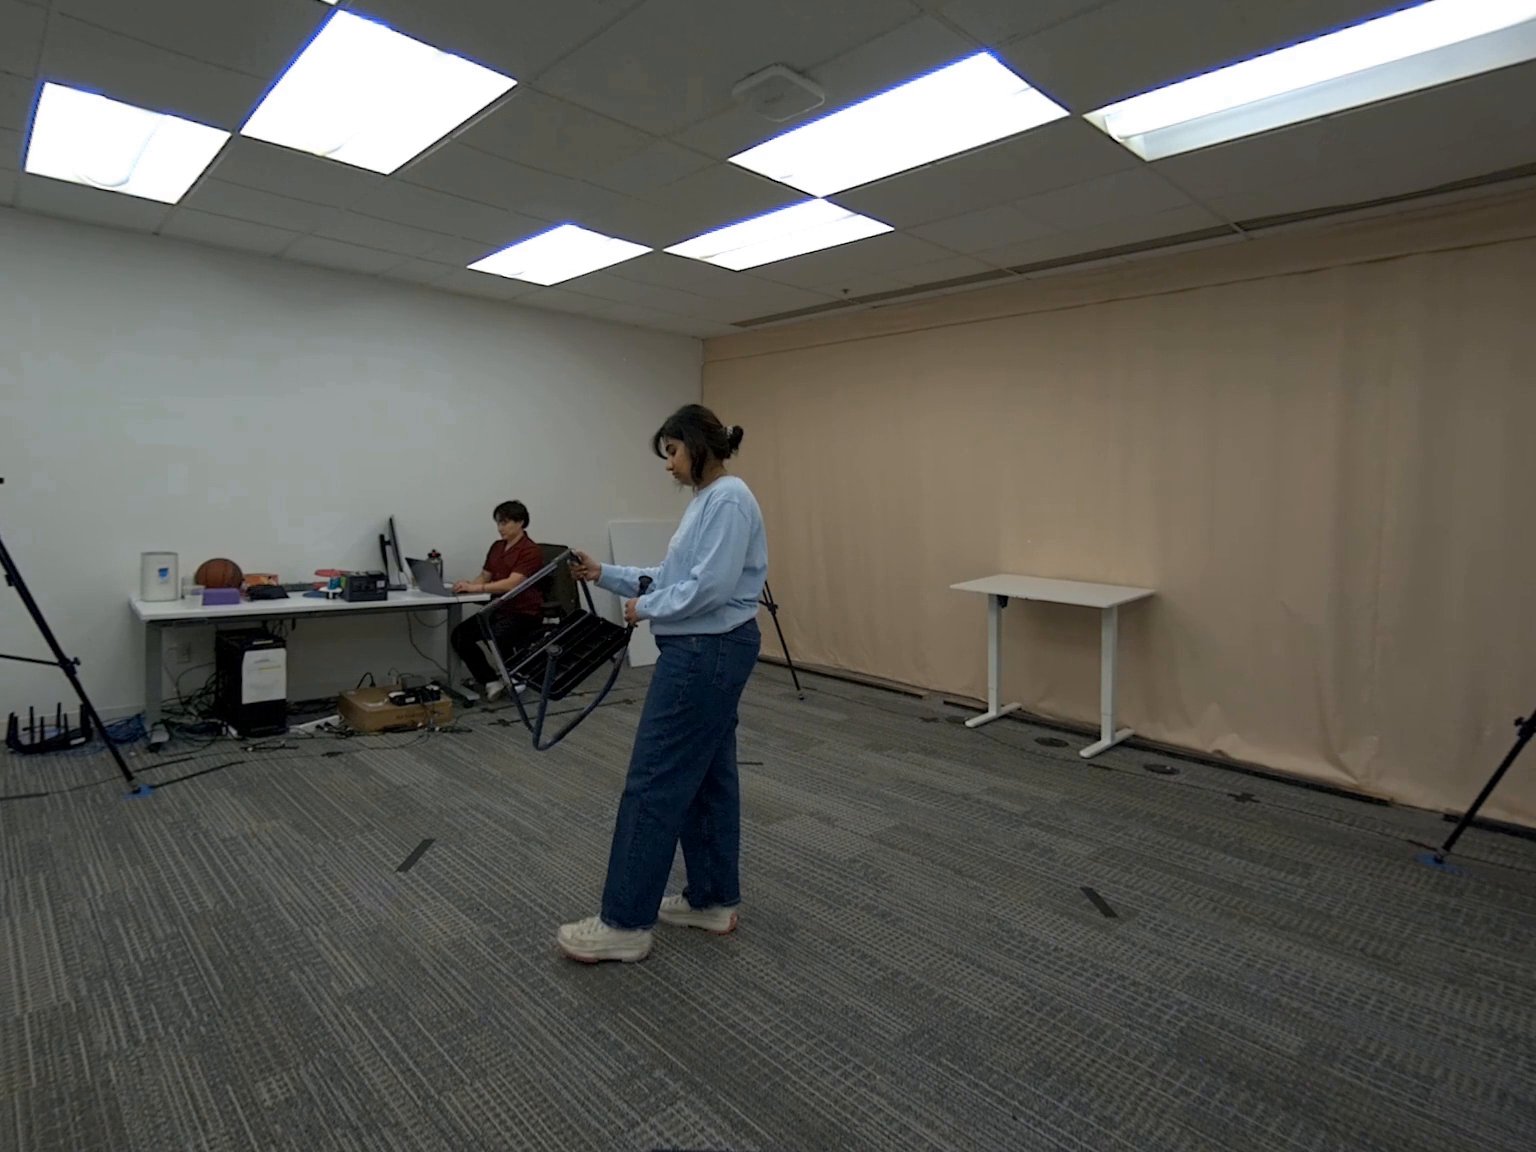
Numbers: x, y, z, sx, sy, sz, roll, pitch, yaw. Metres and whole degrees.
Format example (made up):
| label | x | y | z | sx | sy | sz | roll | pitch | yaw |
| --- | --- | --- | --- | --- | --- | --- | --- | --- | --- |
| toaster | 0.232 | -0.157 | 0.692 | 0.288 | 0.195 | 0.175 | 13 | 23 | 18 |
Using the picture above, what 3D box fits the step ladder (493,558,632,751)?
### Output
| label | x | y | z | sx | sy | sz | roll | pitch | yaw |
| --- | --- | --- | --- | --- | --- | --- | --- | --- | --- |
| step ladder | -0.620 | 0.302 | 2.712 | 0.358 | 0.594 | 0.428 | 21 | 39 | 27 |
